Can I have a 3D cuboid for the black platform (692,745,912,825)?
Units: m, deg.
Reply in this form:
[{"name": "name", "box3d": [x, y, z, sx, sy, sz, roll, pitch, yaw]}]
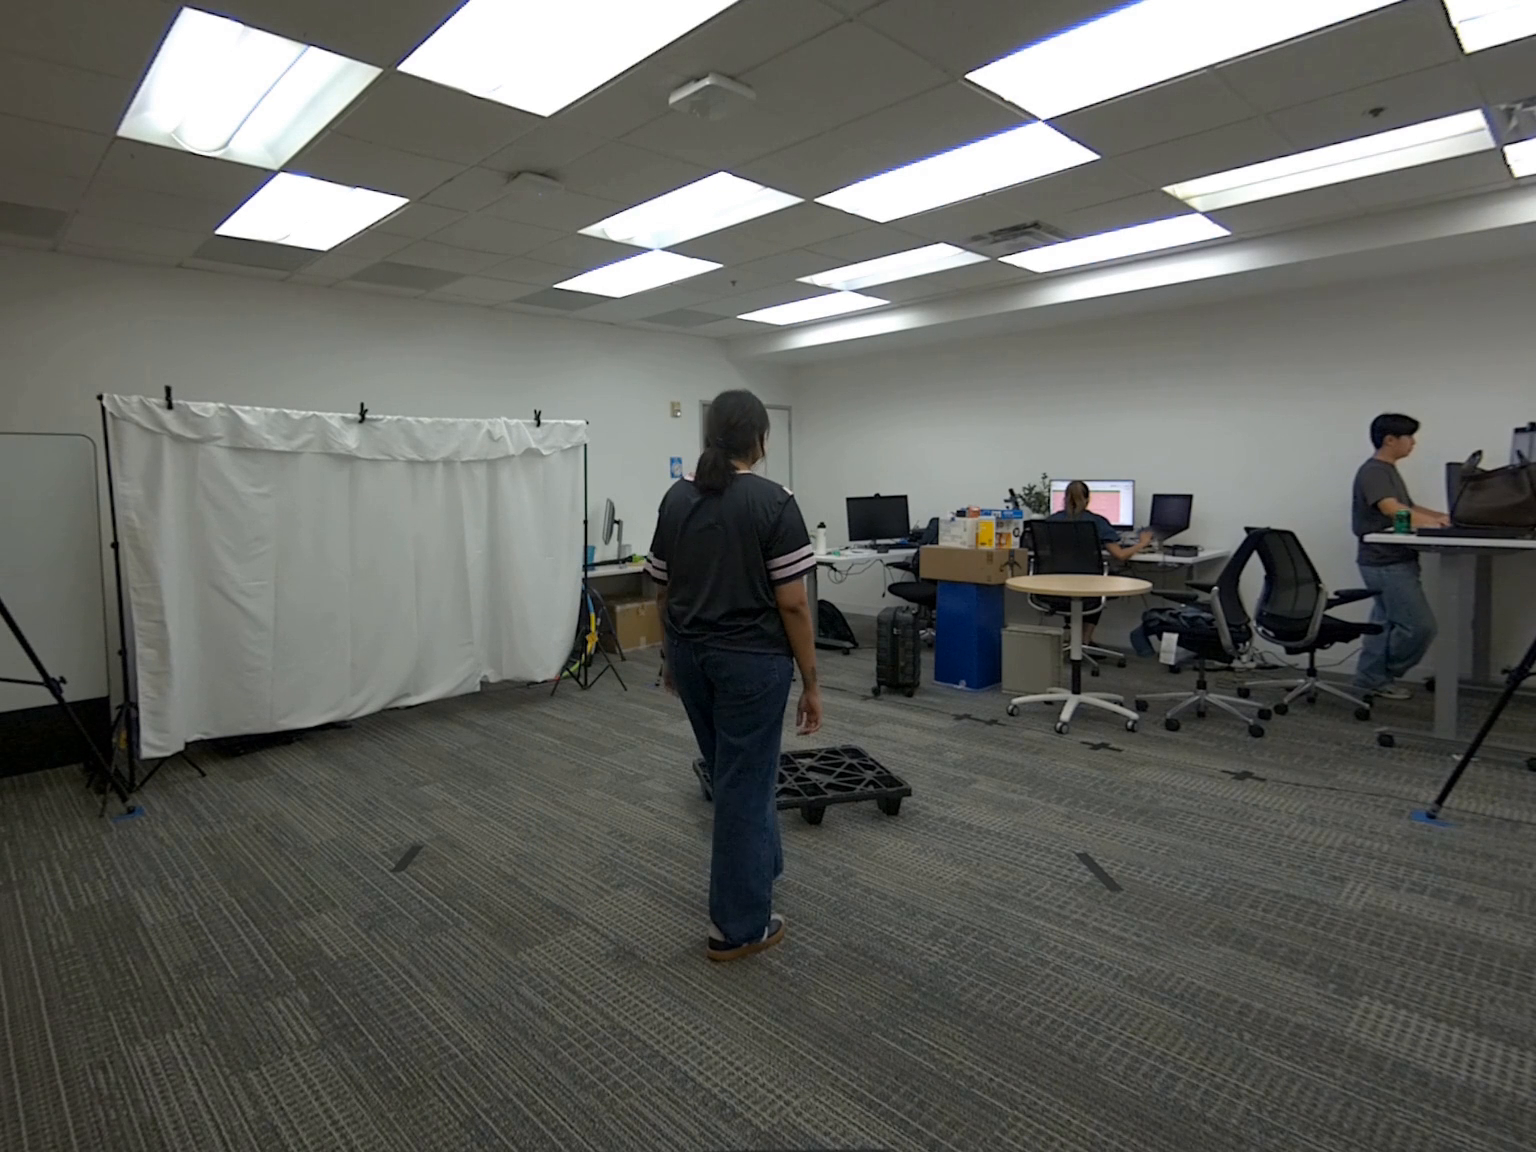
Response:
[{"name": "black platform", "box3d": [0.126, 0.908, 3.668, 0.795, 0.142, 0.616, -3, 7, -14]}]
